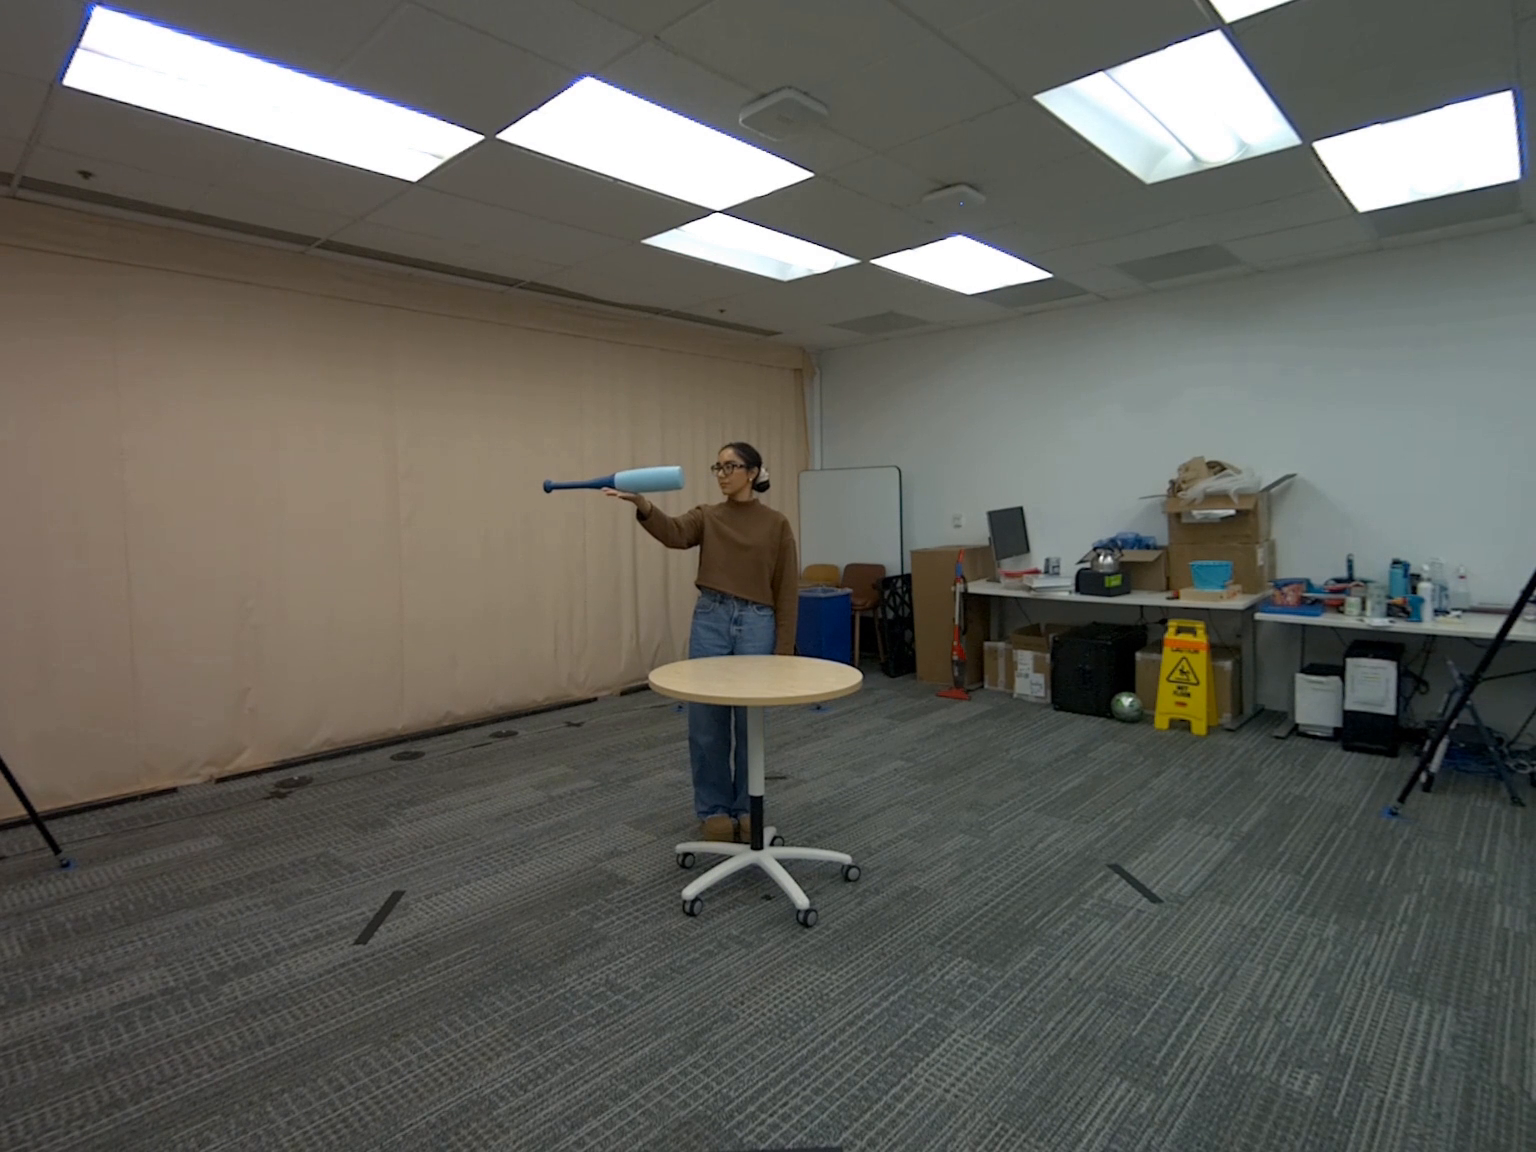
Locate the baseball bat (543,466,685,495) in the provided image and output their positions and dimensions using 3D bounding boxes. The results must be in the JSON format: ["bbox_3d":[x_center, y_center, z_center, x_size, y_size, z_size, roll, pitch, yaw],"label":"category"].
[{"bbox_3d":[-0.577,-0.342,3.098,0.551,0.089,0.088,-2,3,14],"label":"baseball bat"}]
